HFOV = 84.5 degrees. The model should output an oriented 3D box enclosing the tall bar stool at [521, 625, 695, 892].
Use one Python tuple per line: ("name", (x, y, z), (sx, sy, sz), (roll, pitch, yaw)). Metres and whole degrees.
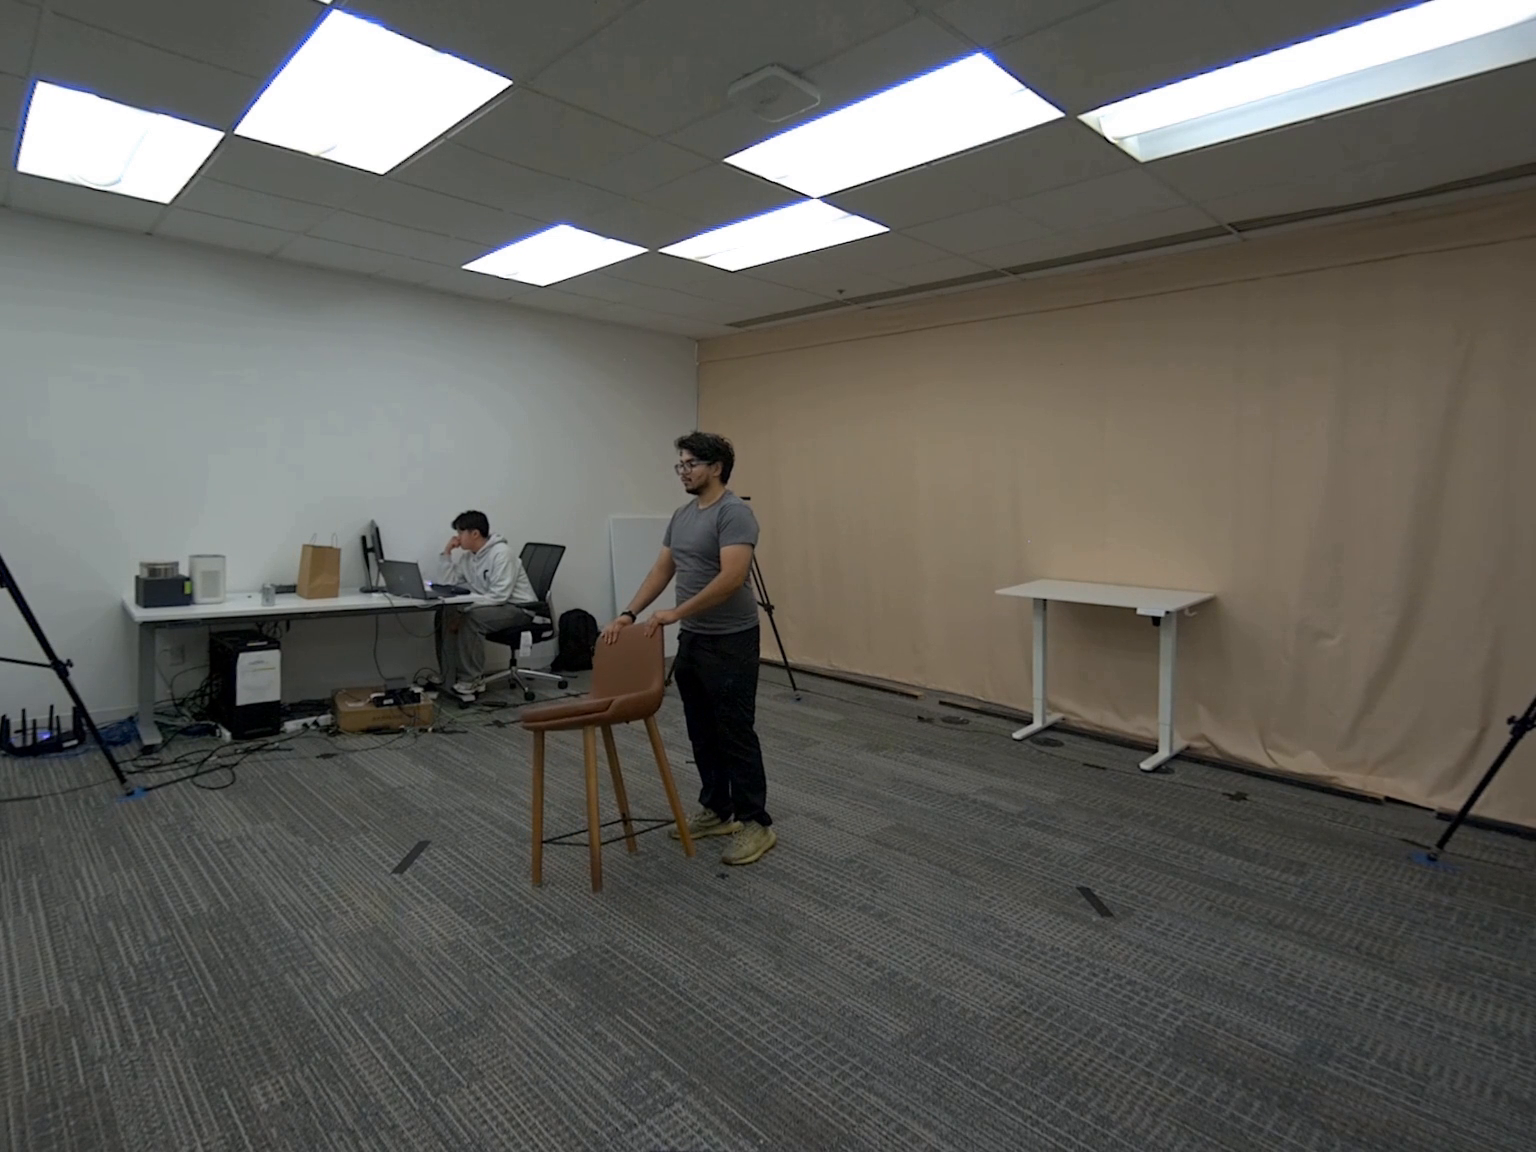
("tall bar stool", (-0.613, 0.628, 3.078), (0.464, 0.896, 0.456), (-15, -12, 43))
